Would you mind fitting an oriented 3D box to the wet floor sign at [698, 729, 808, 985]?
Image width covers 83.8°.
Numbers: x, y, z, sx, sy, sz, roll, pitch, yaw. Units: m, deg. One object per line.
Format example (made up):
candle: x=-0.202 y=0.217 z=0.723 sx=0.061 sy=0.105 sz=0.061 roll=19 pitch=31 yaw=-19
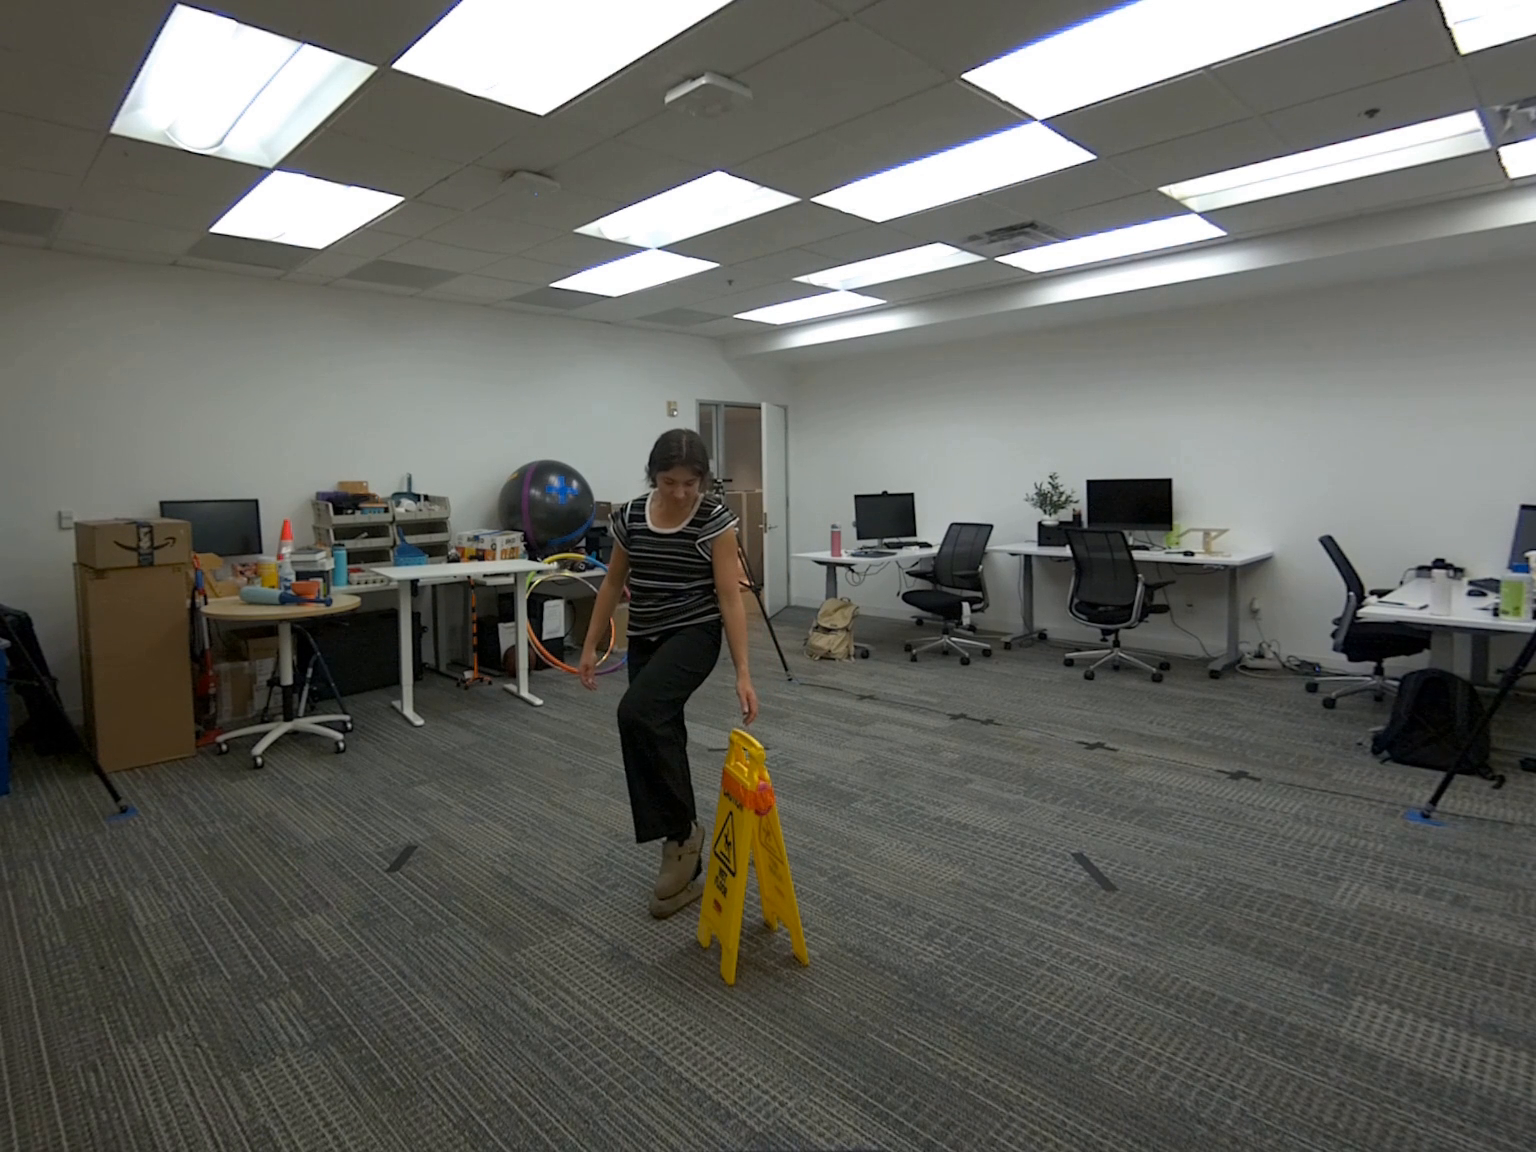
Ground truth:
wet floor sign: x=-0.057 y=0.790 z=2.505 sx=0.284 sy=0.643 sz=0.289 roll=-3 pitch=5 yaw=-23
